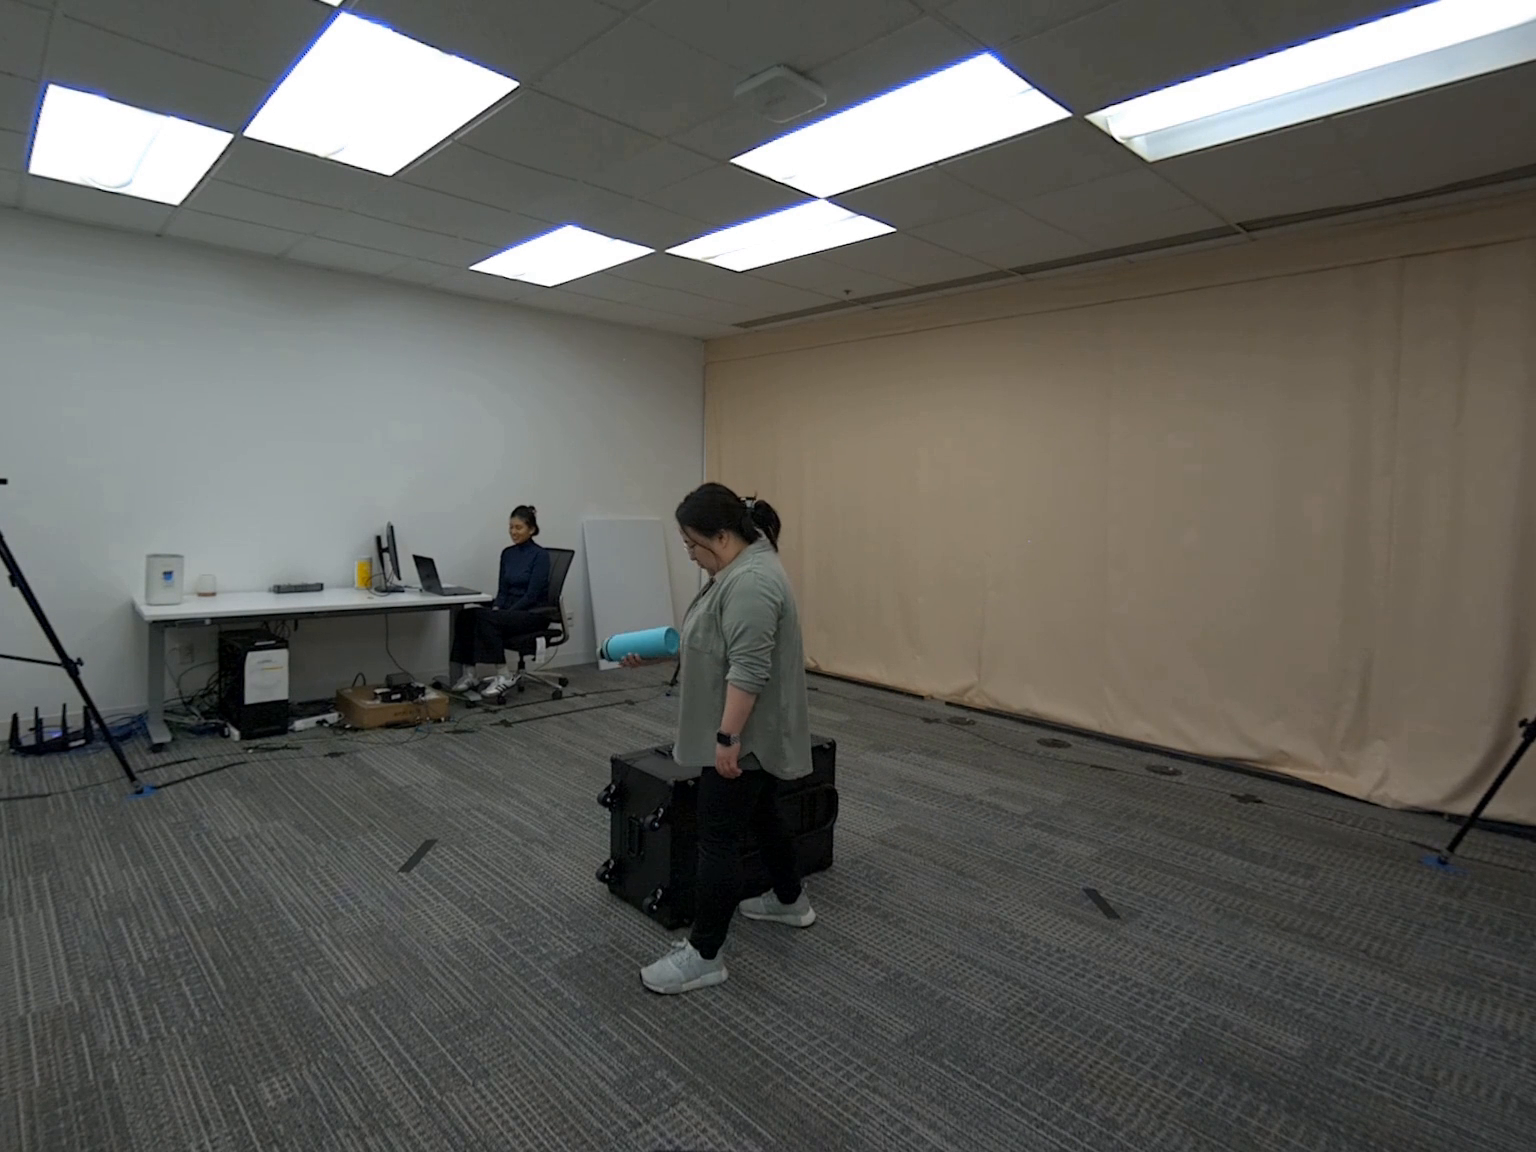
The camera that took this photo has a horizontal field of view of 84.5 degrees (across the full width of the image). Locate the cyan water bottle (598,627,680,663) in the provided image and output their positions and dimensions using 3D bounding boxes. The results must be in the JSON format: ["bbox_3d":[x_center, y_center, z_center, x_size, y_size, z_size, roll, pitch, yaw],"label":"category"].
[{"bbox_3d":[-0.420,0.223,2.680,0.288,0.092,0.090,-10,-2,31],"label":"cyan water bottle"}]
